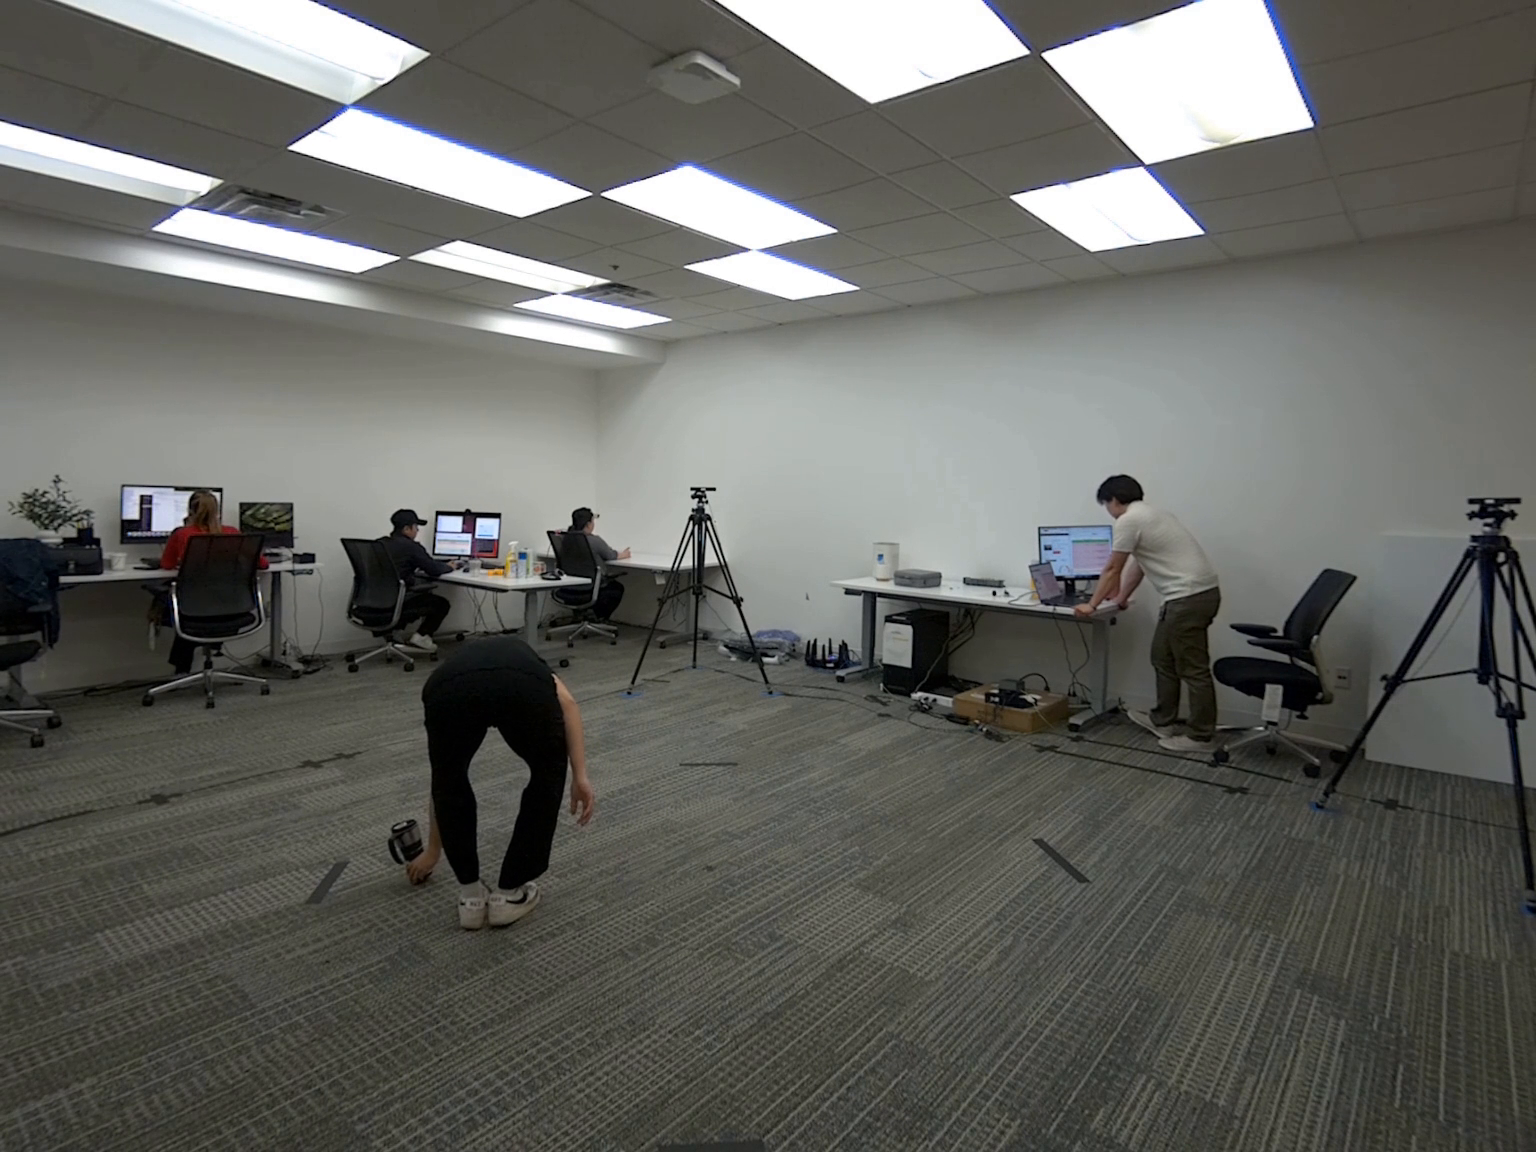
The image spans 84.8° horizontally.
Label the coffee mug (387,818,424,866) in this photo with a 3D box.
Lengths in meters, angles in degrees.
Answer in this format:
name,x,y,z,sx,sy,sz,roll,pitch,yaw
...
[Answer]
name,x,y,z,sx,sy,sz,roll,pitch,yaw
coffee mug,-1.278,0.967,2.964,0.119,0.202,0.090,-21,5,-42
